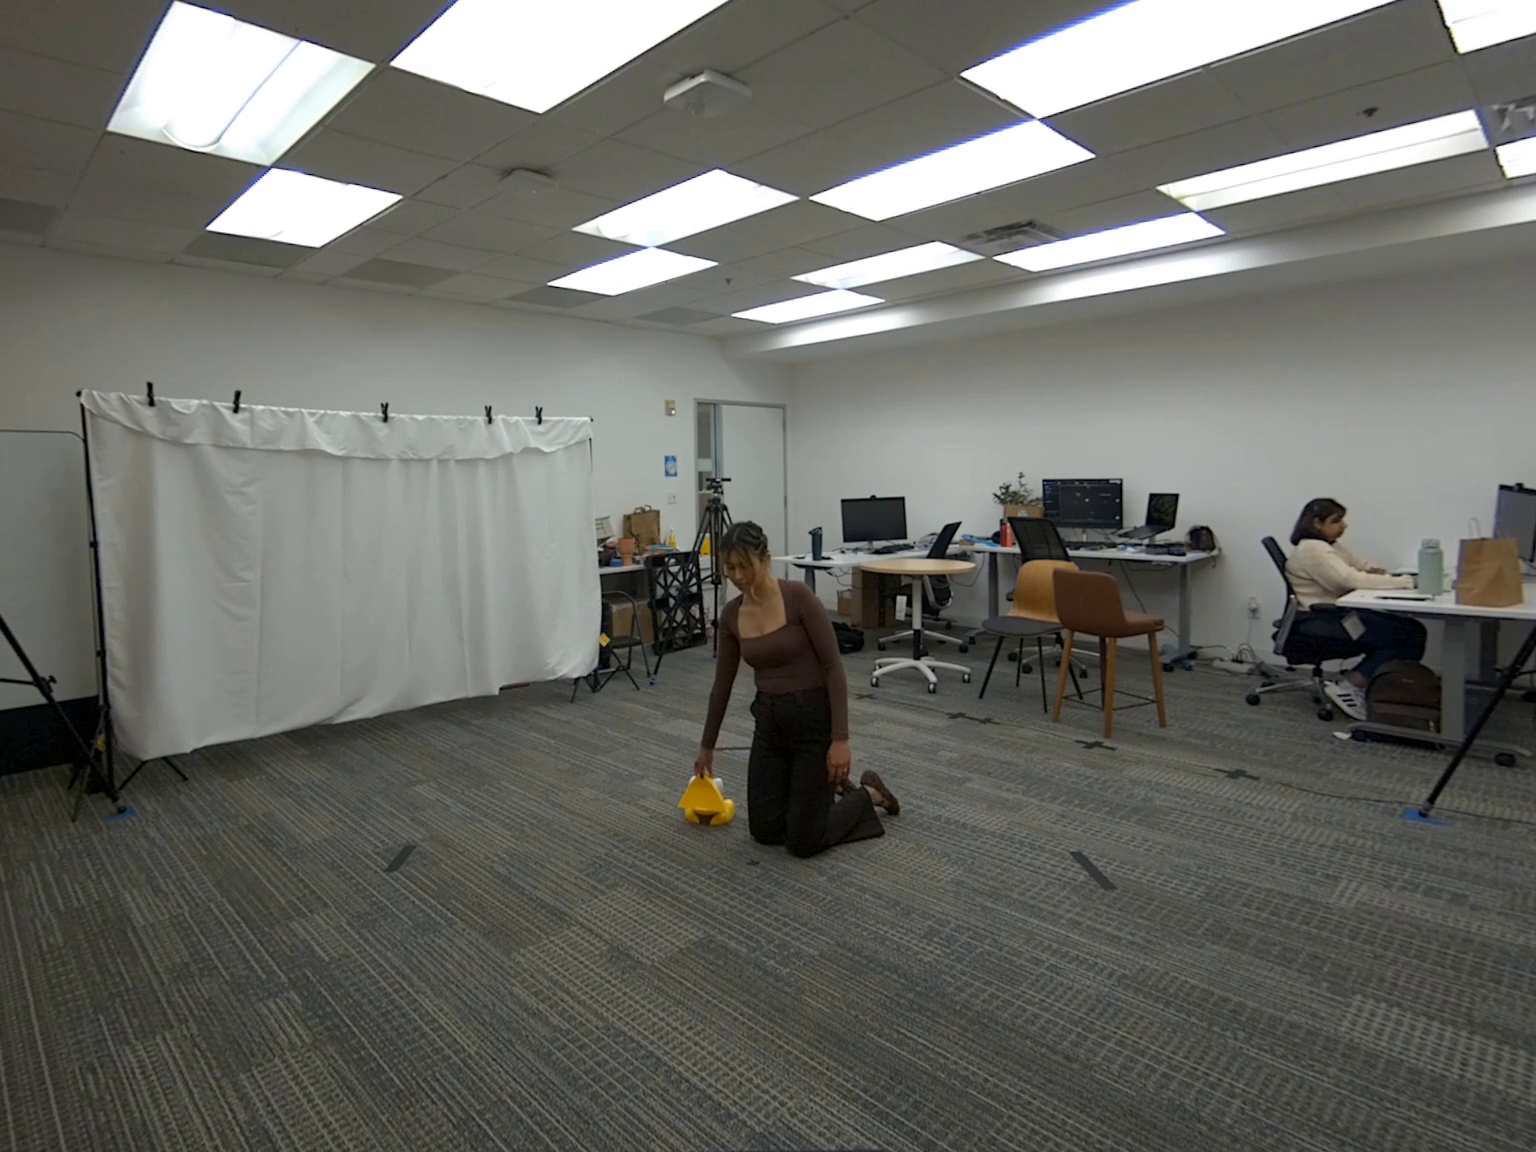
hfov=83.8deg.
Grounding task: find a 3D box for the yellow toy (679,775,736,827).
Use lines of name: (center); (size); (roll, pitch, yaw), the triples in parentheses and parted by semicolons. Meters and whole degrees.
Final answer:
yellow toy: (-0.244, 0.878, 3.505); (0.208, 0.227, 0.193); (0, 17, 16)
